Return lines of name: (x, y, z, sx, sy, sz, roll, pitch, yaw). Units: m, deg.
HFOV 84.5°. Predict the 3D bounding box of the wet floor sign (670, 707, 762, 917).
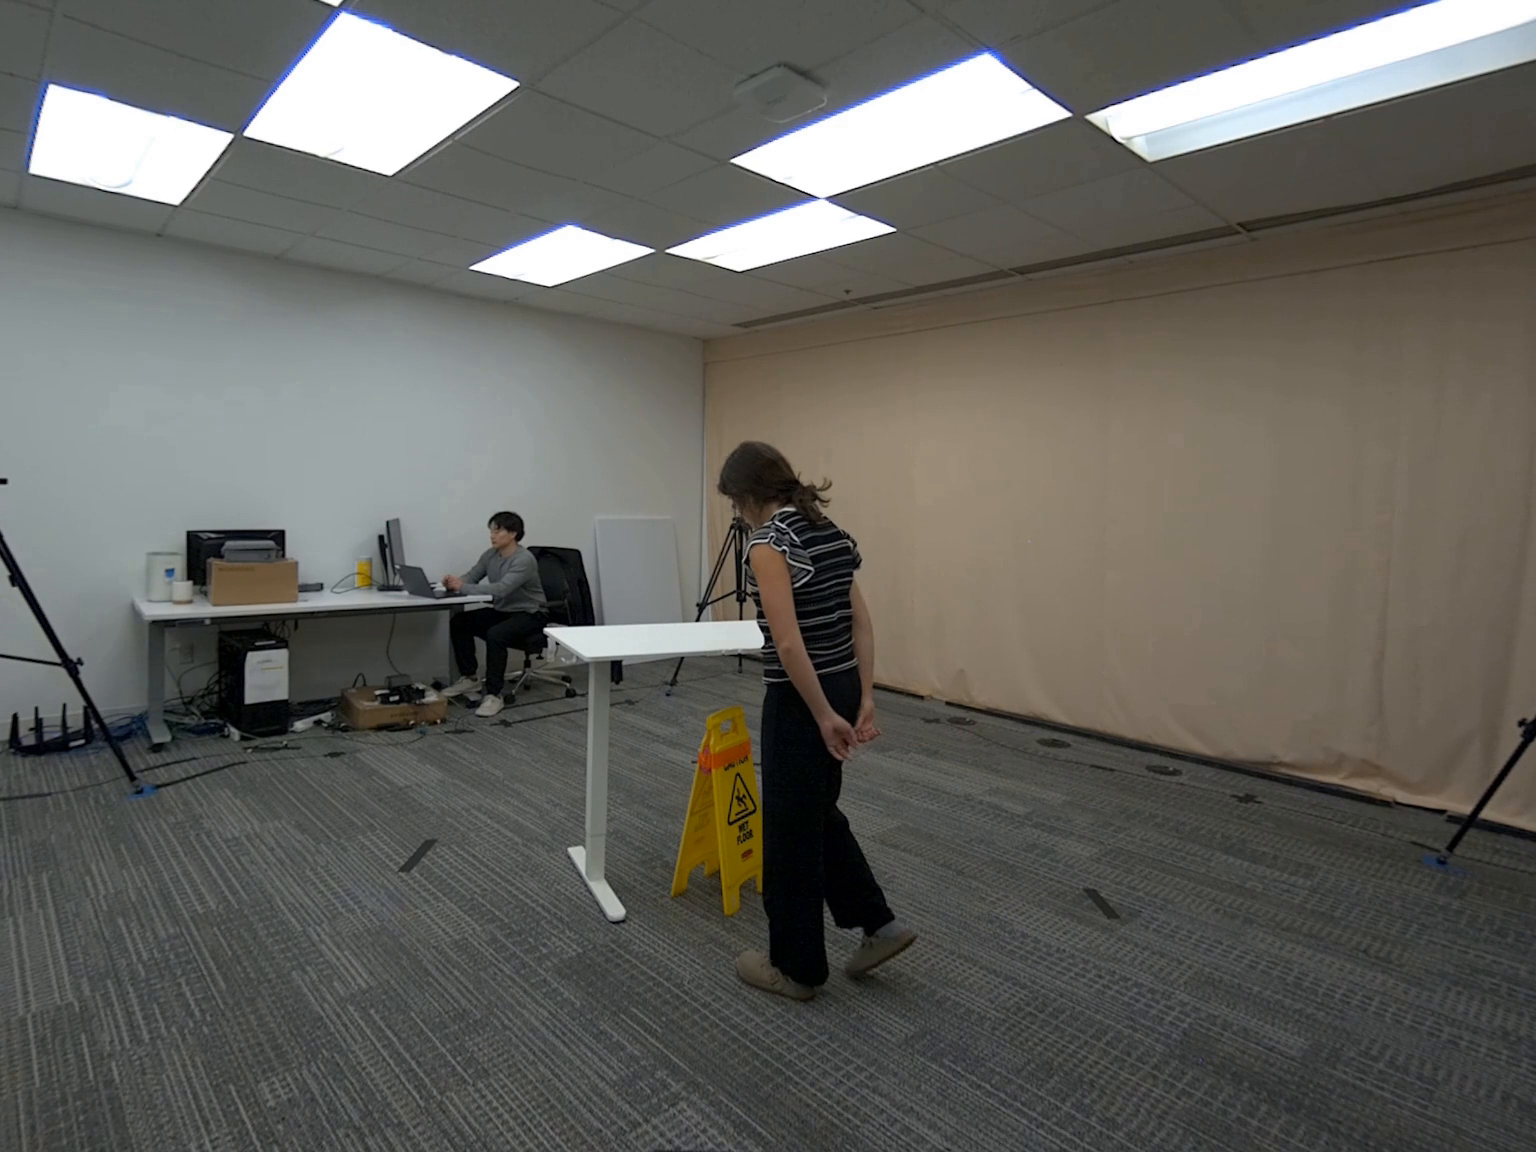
wet floor sign: (-0.163, 0.794, 2.957, 0.296, 0.645, 0.276, 3, 4, 34)
